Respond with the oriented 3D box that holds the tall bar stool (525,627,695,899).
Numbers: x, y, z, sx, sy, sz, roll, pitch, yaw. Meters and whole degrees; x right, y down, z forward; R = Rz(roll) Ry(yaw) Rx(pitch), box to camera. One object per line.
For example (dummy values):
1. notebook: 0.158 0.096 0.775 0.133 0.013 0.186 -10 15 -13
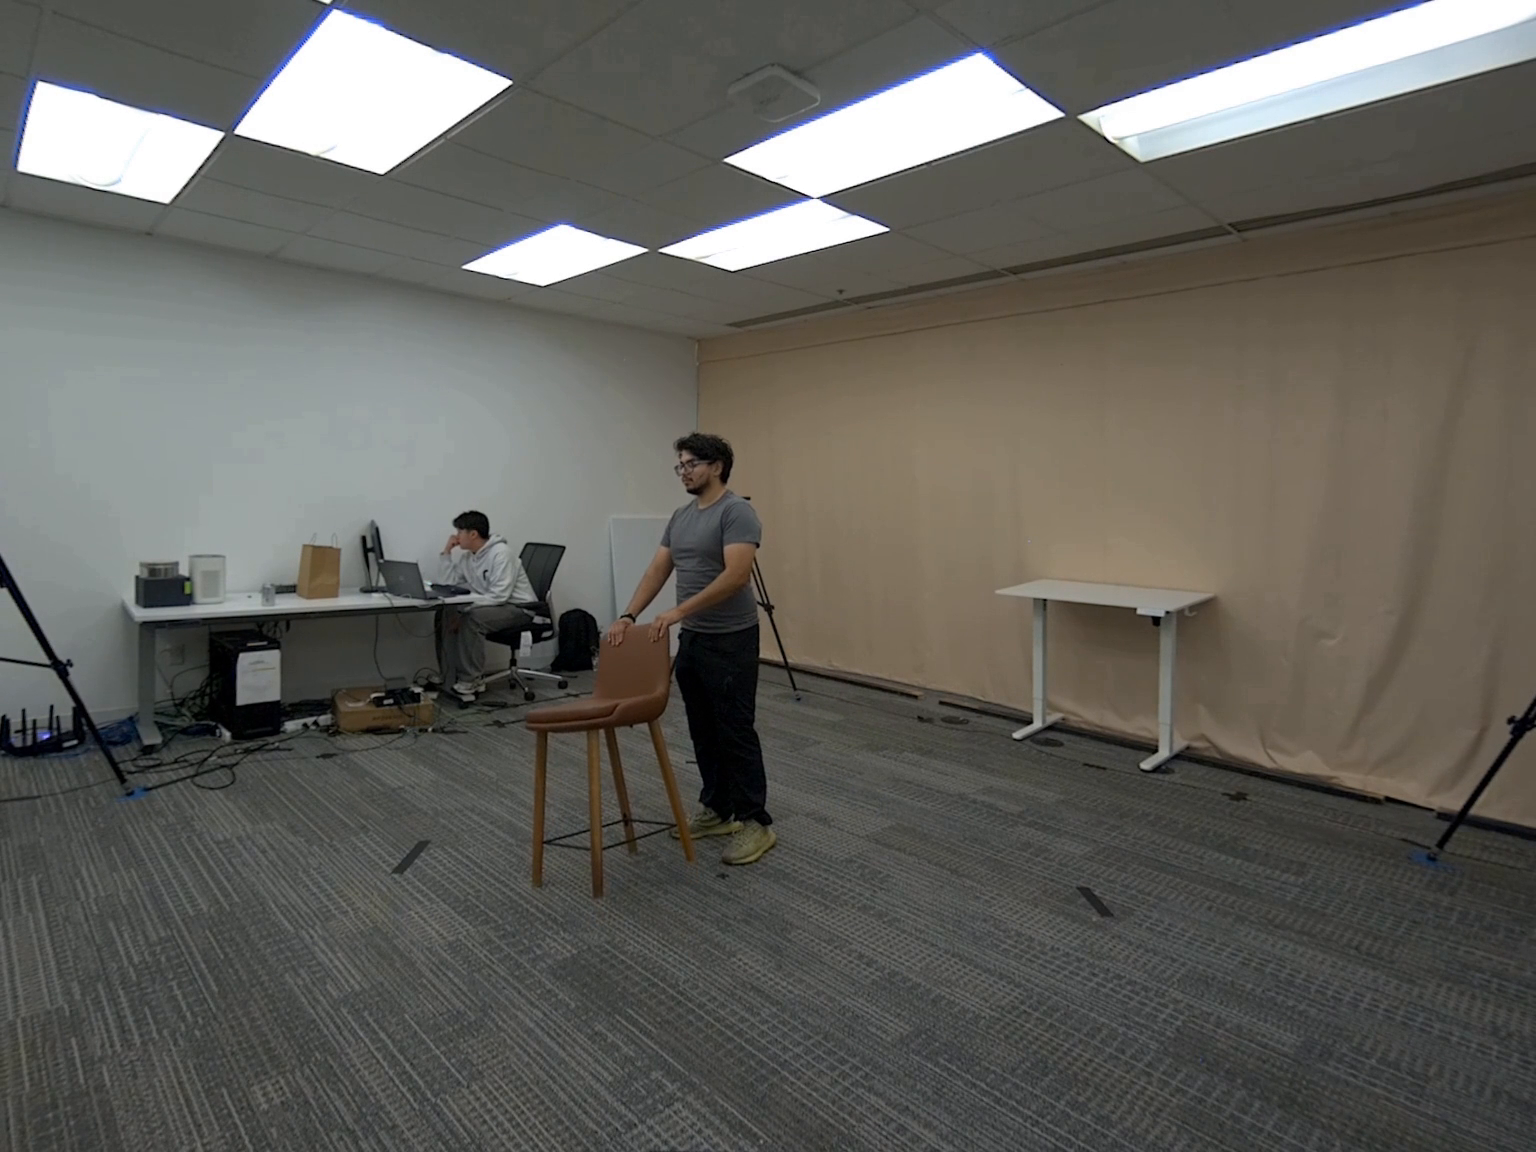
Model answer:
1. tall bar stool: -0.599 0.633 3.064 0.465 0.895 0.456 -12 -10 44
